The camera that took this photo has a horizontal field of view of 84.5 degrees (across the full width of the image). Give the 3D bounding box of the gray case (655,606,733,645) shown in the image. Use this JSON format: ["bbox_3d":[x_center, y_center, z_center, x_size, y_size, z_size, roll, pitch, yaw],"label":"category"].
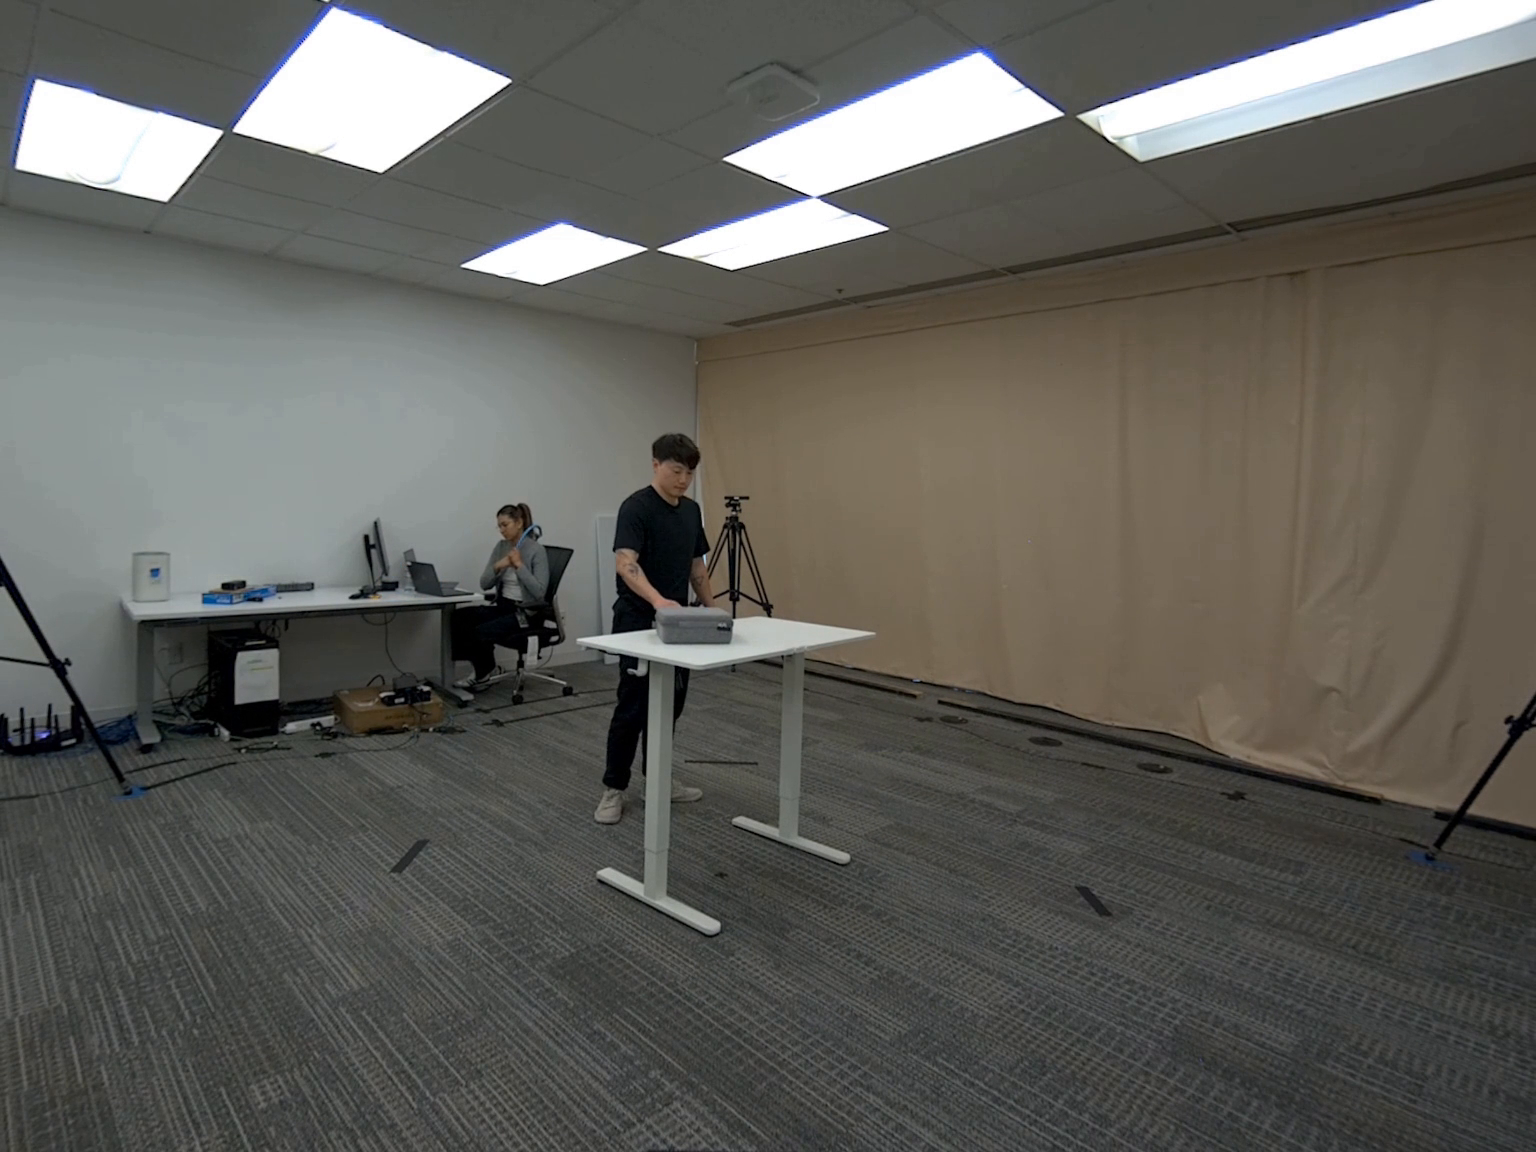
[{"bbox_3d":[-0.274,0.173,3.016,0.254,0.104,0.263,0,4,-12],"label":"gray case"}]
